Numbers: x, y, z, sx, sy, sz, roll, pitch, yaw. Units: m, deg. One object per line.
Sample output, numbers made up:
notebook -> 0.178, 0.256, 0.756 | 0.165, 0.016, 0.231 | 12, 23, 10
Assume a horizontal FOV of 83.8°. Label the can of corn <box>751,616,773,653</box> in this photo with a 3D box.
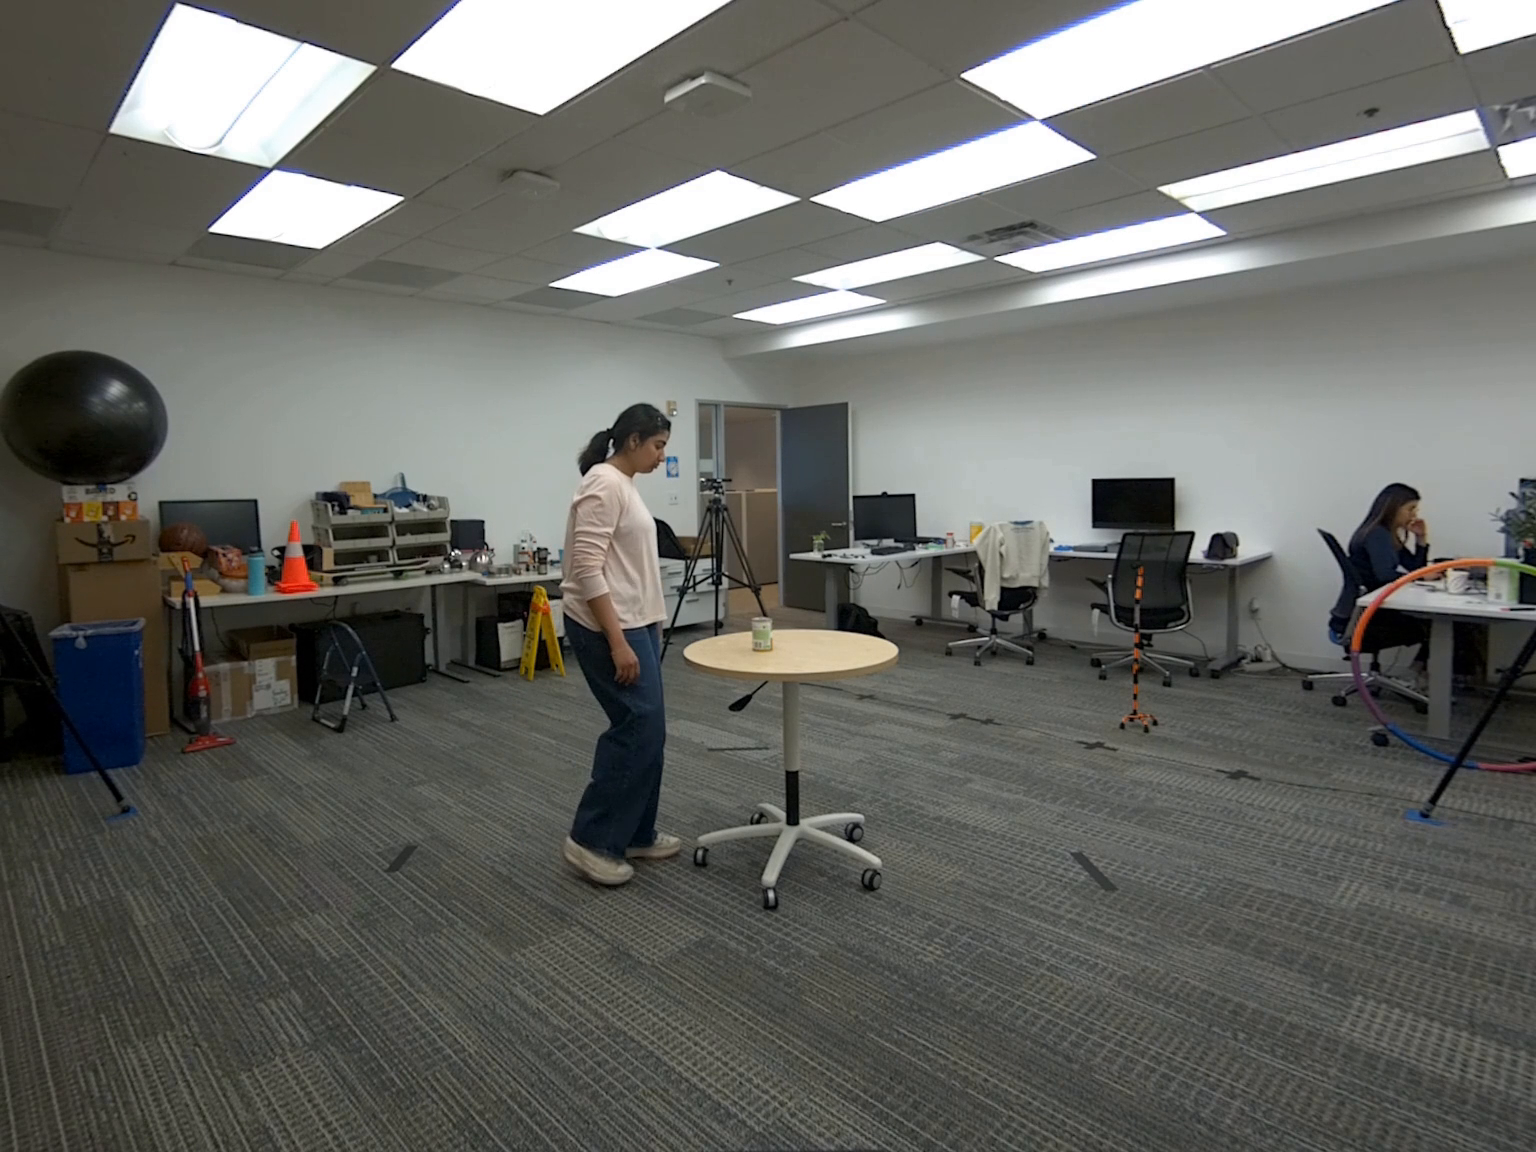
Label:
can of corn -> -0.025, 0.208, 3.054 | 0.074, 0.111, 0.074 | -2, 2, -2
